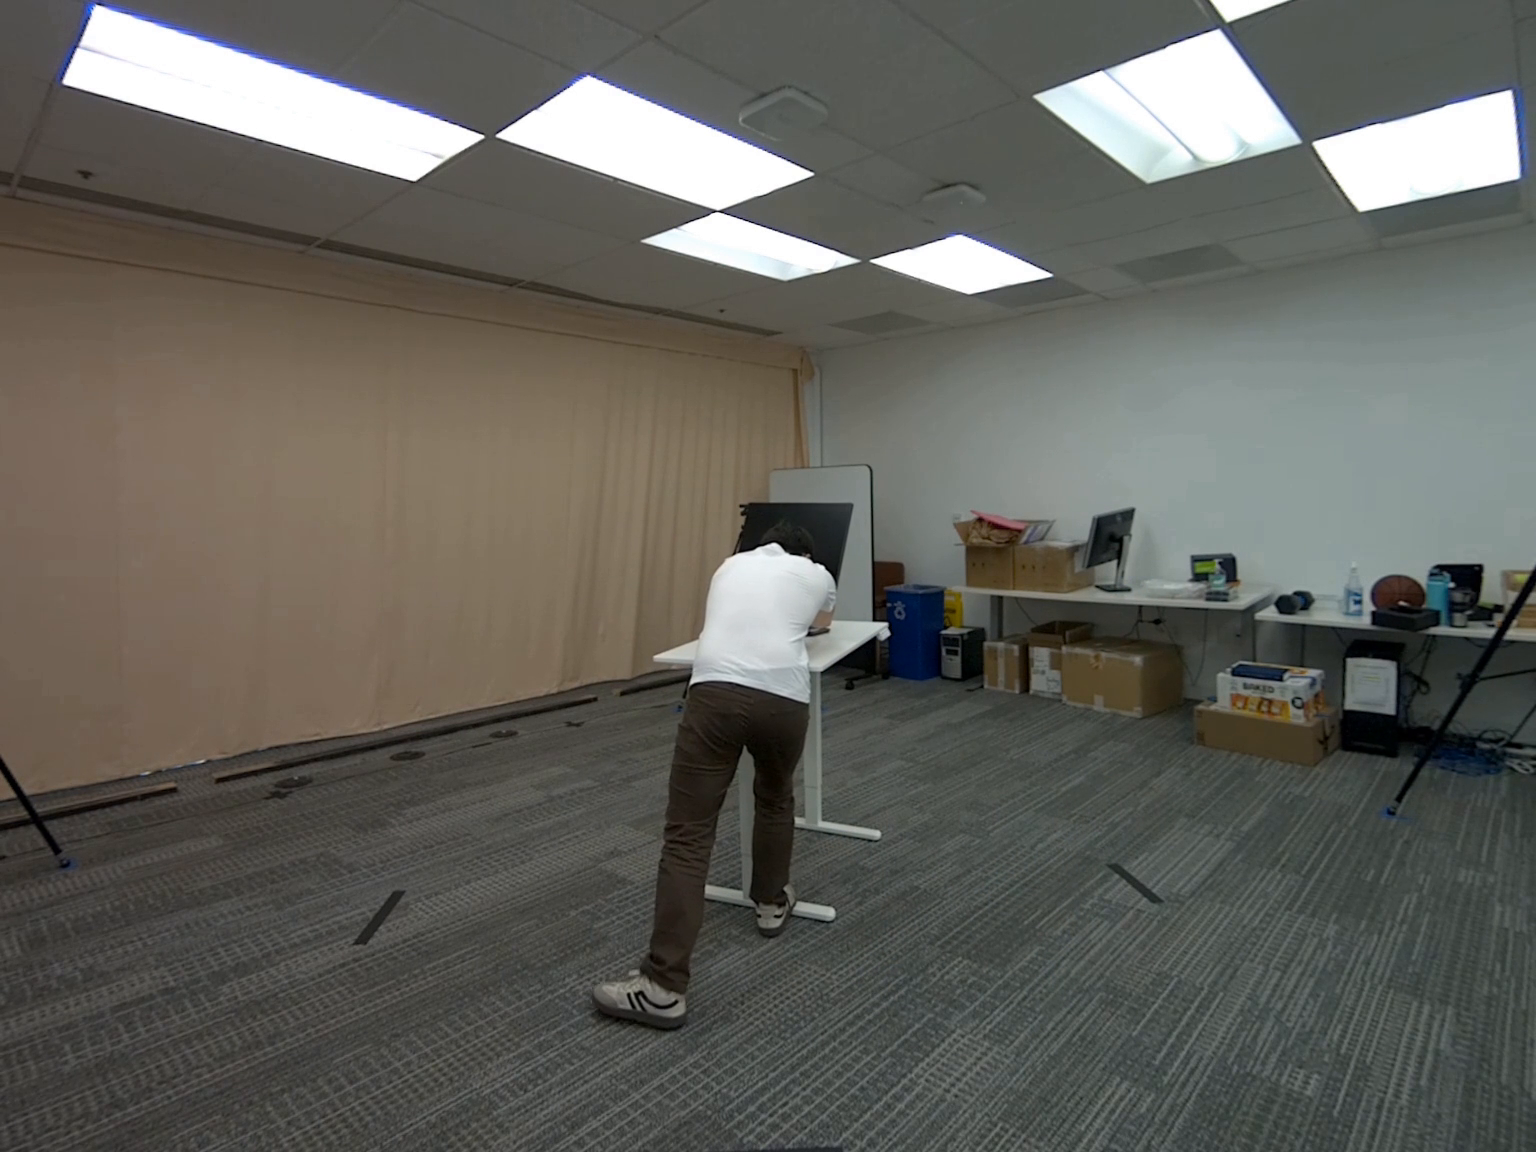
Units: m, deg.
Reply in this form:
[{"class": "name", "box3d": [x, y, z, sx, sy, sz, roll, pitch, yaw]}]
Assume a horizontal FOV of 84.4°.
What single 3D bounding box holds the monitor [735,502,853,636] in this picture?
[{"class": "monitor", "box3d": [0.109, -0.035, 3.376, 0.557, 0.522, 0.181, 4, 2, 40]}]
